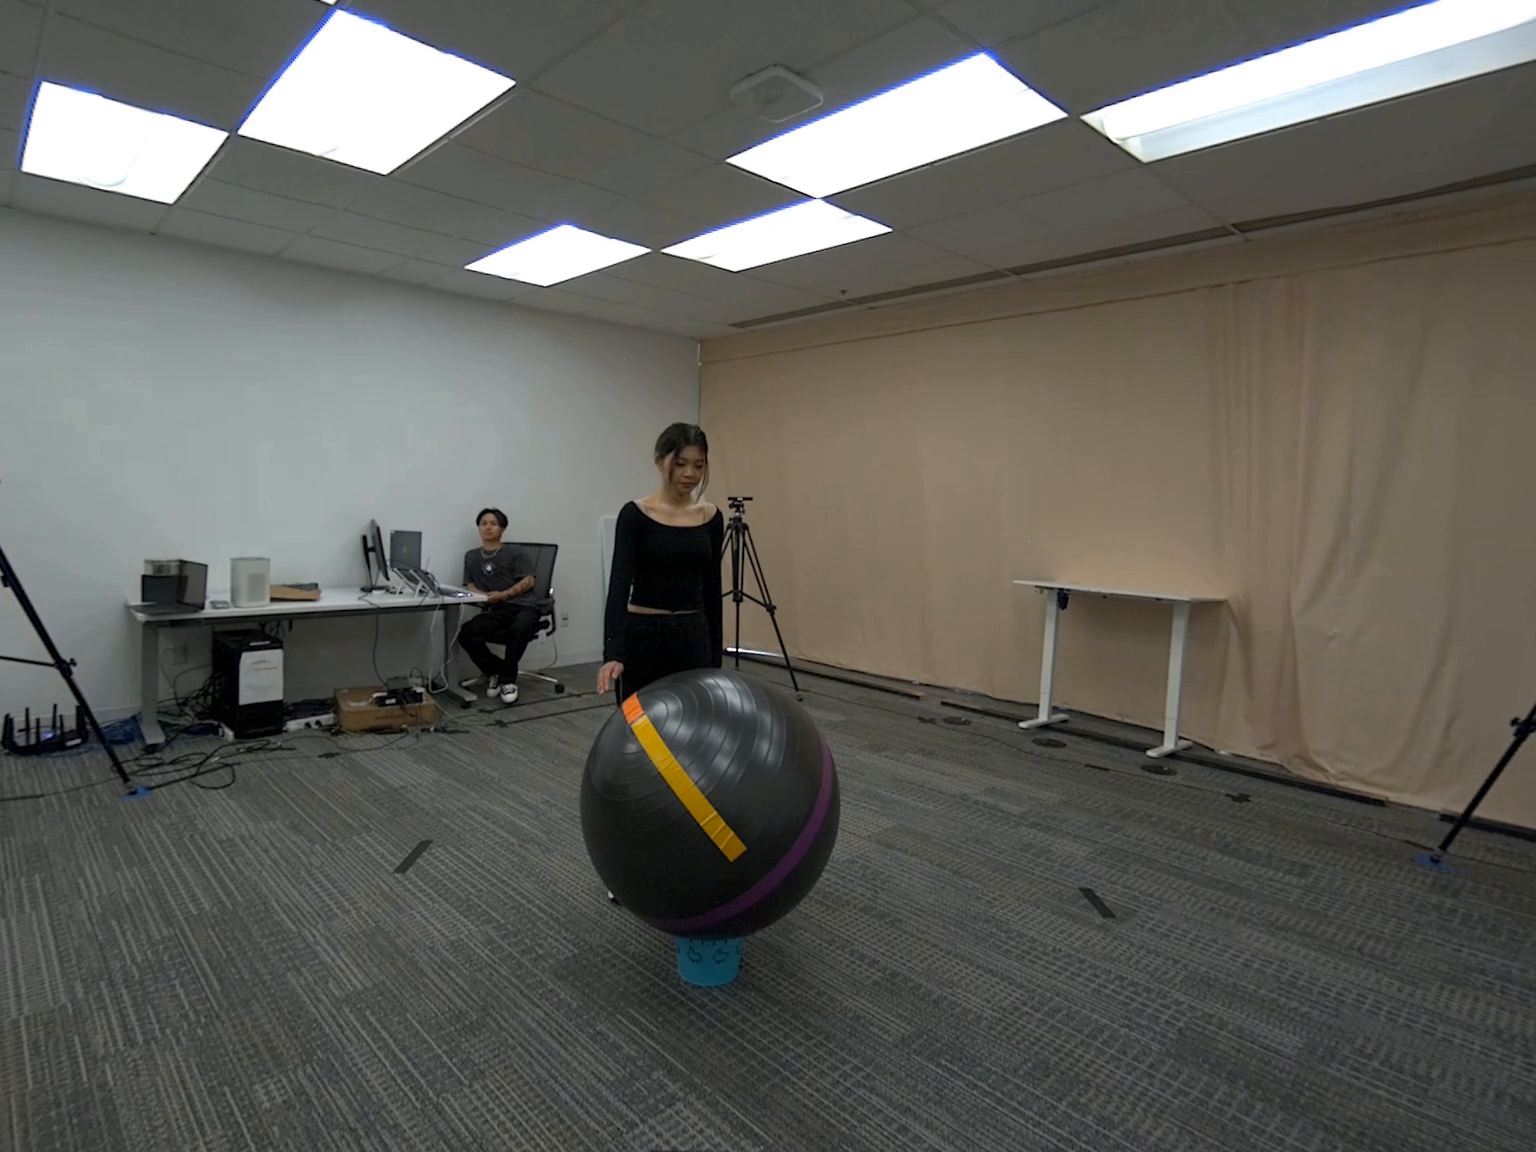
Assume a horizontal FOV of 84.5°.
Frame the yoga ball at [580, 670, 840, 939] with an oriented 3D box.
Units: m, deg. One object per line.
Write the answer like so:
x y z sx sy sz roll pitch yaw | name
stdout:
-0.169 0.657 2.453 0.757 0.756 0.761 1 4 -1 | yoga ball
